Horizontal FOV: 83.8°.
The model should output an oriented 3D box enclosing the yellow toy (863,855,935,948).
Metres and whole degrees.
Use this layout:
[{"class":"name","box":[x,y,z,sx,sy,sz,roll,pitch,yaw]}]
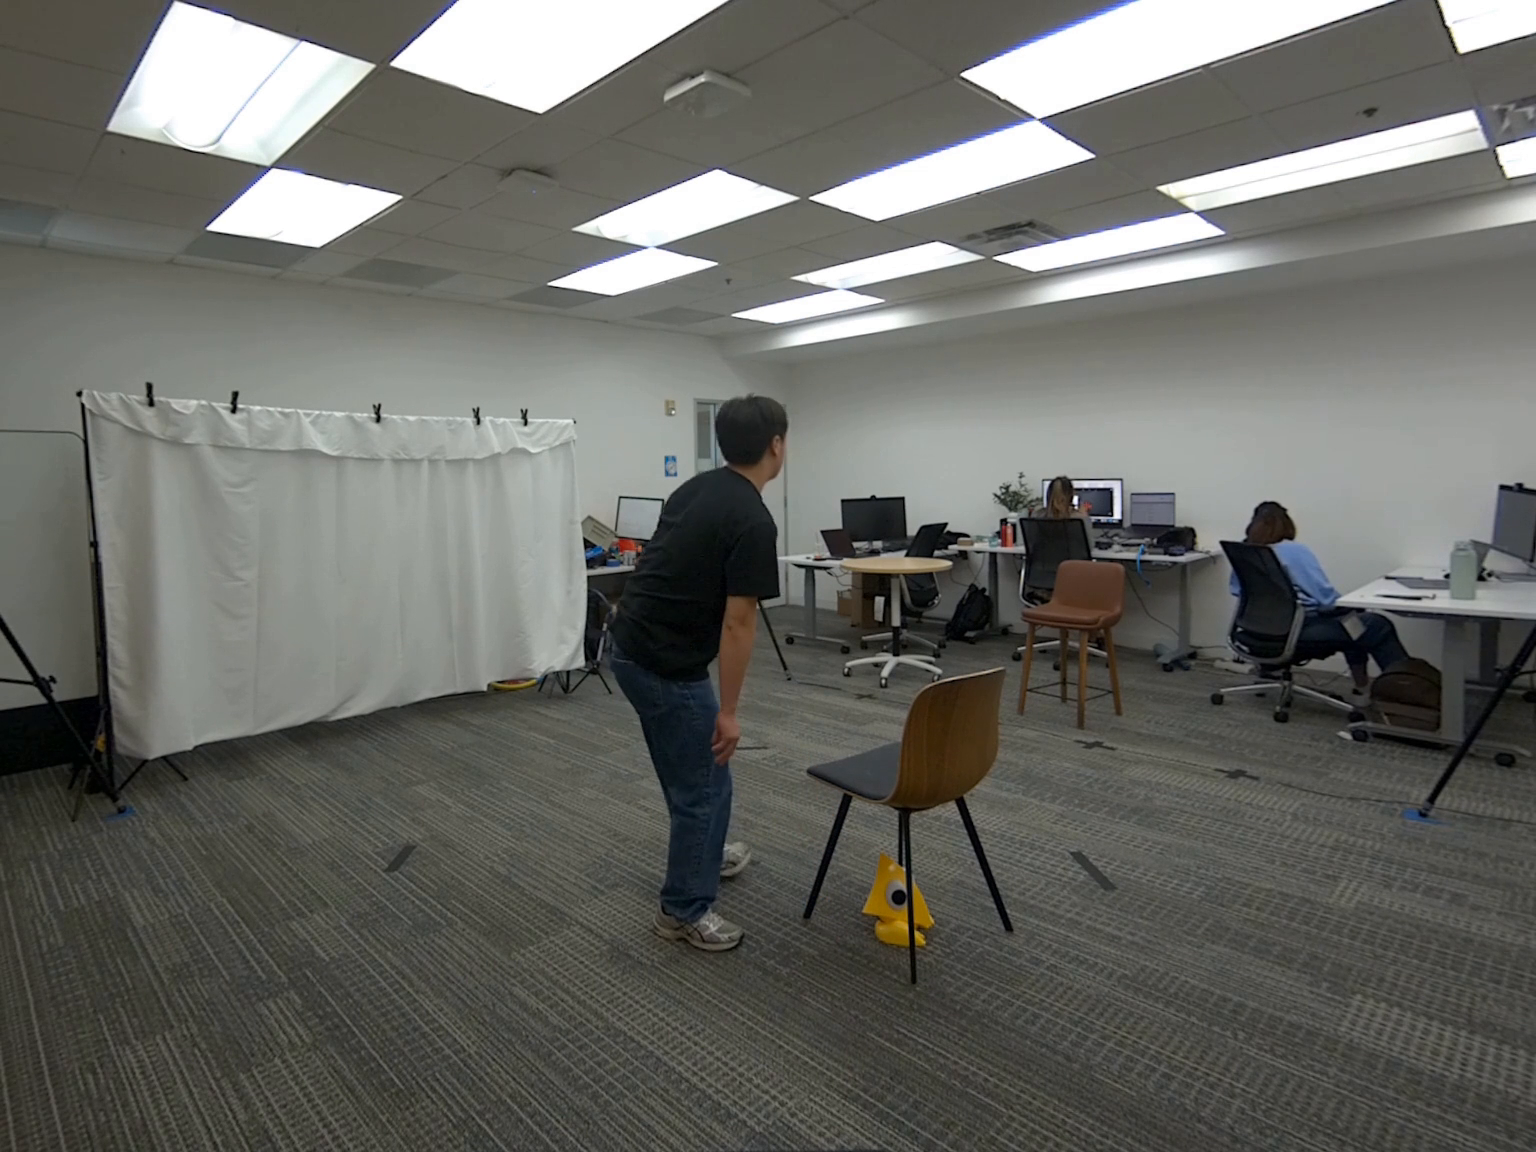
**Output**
[{"class":"yellow toy","box":[0.421,0.982,2.629,0.198,0.230,0.201,2,5,26]}]
